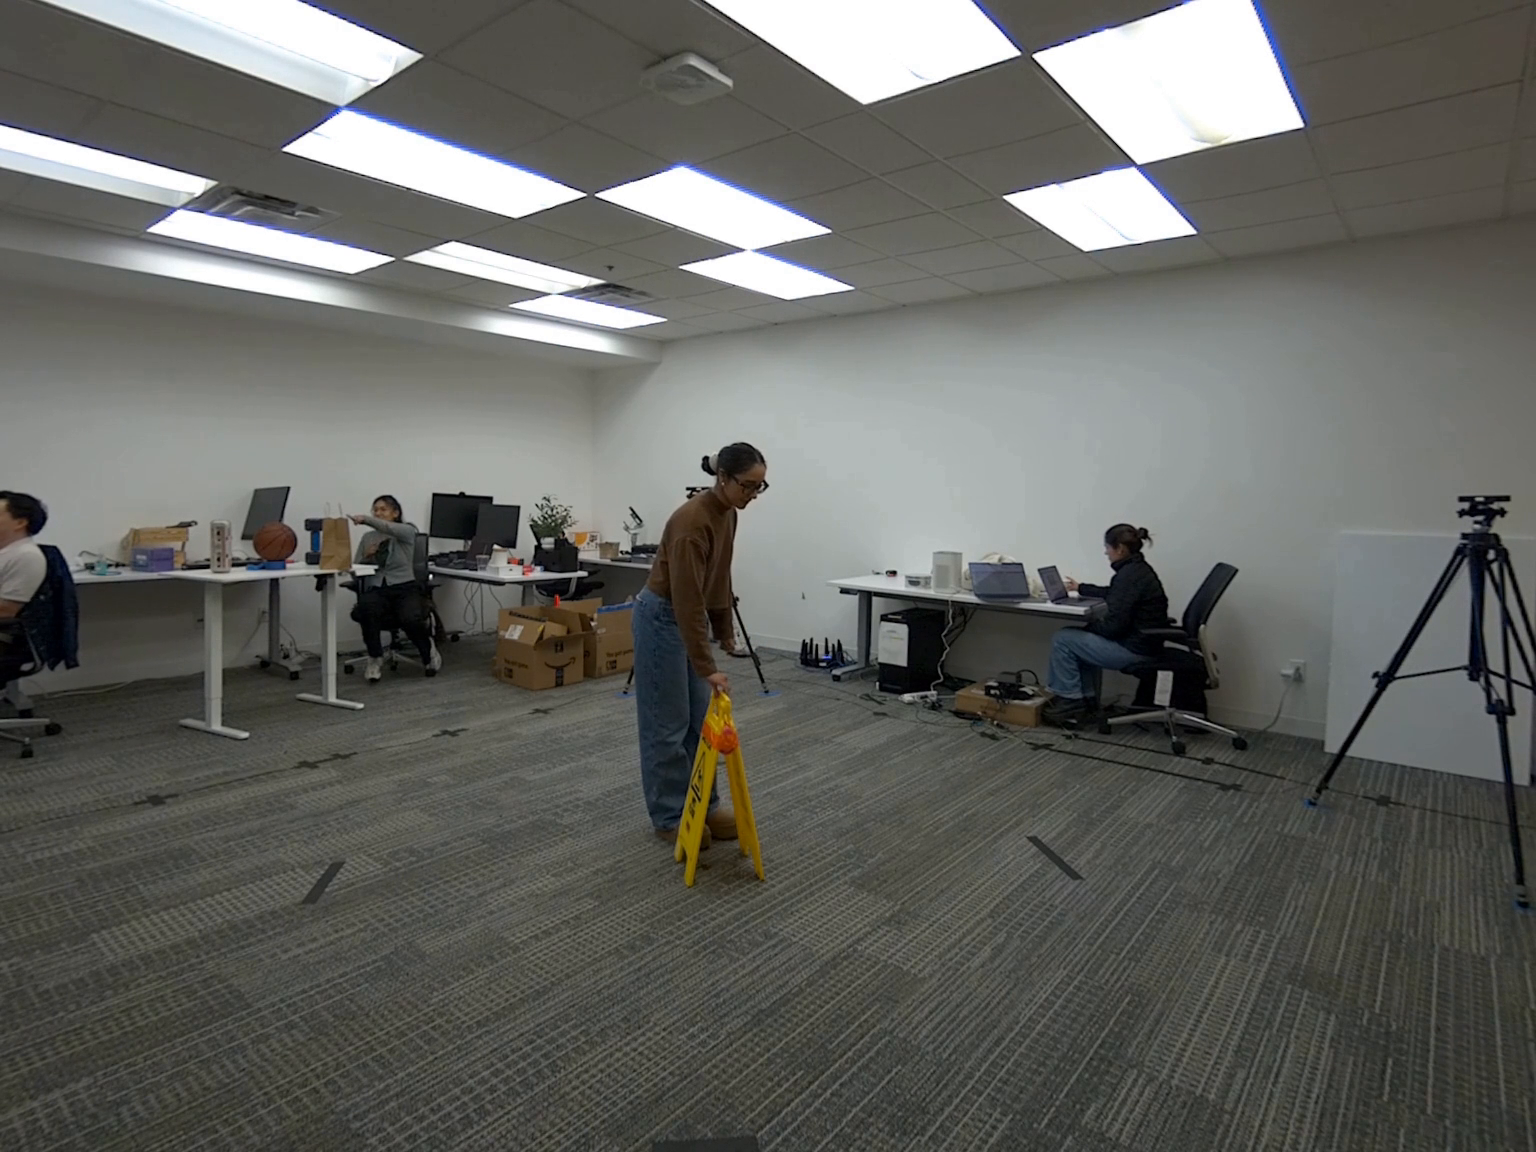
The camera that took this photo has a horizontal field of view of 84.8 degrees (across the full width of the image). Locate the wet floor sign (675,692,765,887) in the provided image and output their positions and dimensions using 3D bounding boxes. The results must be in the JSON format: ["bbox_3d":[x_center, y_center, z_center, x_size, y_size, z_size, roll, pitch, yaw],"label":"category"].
[{"bbox_3d":[-0.184,0.741,3.087,0.285,0.643,0.288,0,5,-15],"label":"wet floor sign"}]
